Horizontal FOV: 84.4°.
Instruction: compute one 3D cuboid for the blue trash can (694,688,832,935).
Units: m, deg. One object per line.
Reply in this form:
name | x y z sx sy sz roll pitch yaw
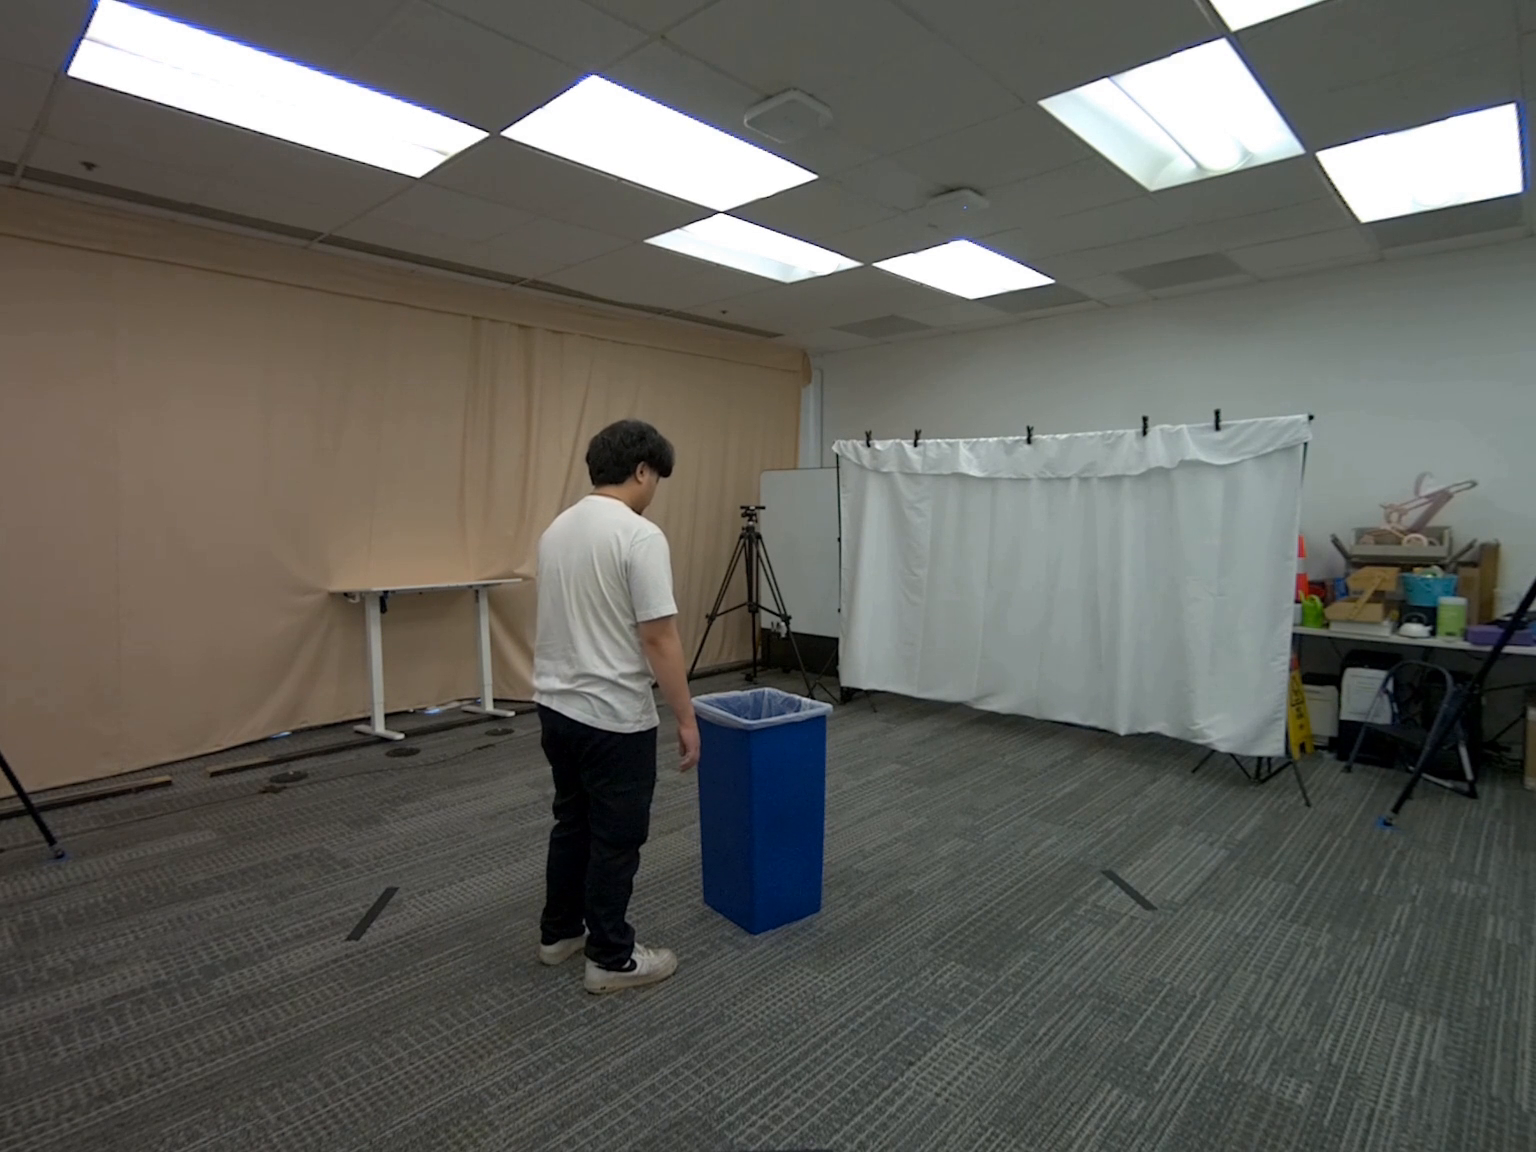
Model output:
blue trash can | -0.025 0.792 2.907 0.363 0.712 0.390 -2 4 -37
